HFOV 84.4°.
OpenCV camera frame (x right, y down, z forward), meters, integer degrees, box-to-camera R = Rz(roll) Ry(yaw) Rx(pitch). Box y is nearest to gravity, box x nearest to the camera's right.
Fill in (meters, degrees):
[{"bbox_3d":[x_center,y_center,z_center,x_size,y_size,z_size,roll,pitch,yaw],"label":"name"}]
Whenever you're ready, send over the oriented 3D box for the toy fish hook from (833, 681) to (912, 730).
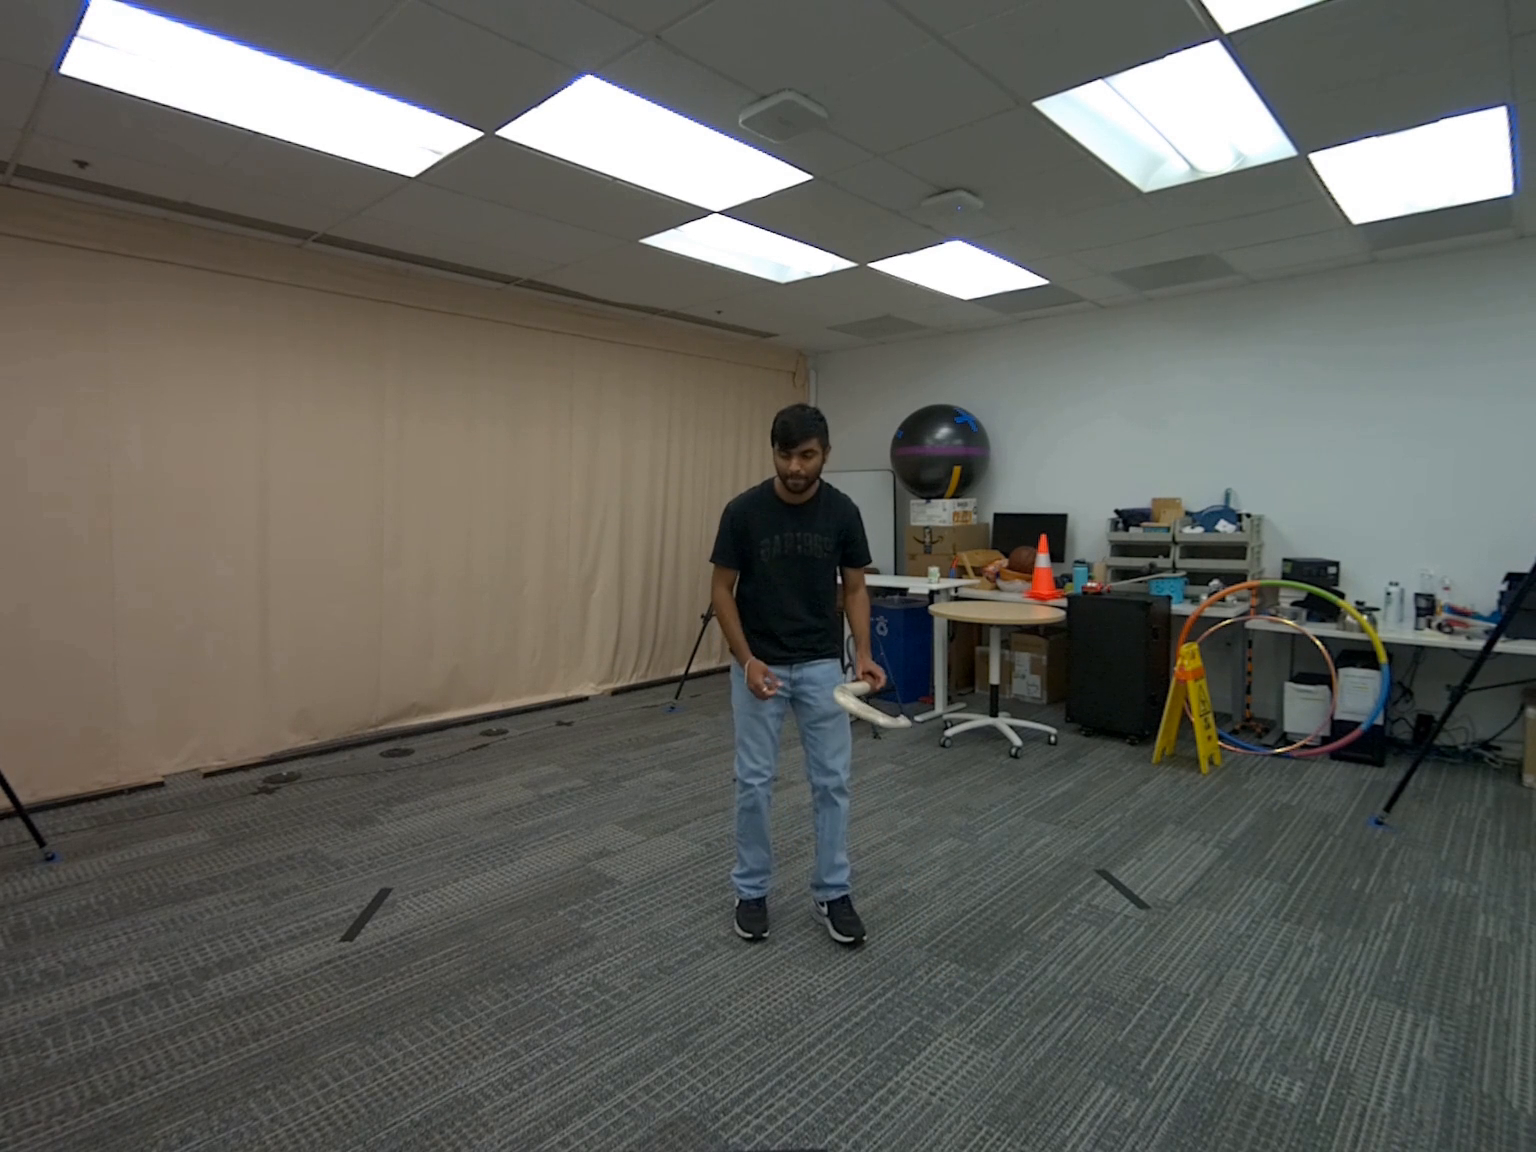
[{"bbox_3d":[0.325,0.366,2.450,0.228,0.048,0.499,28,10,12],"label":"toy fish hook"}]
